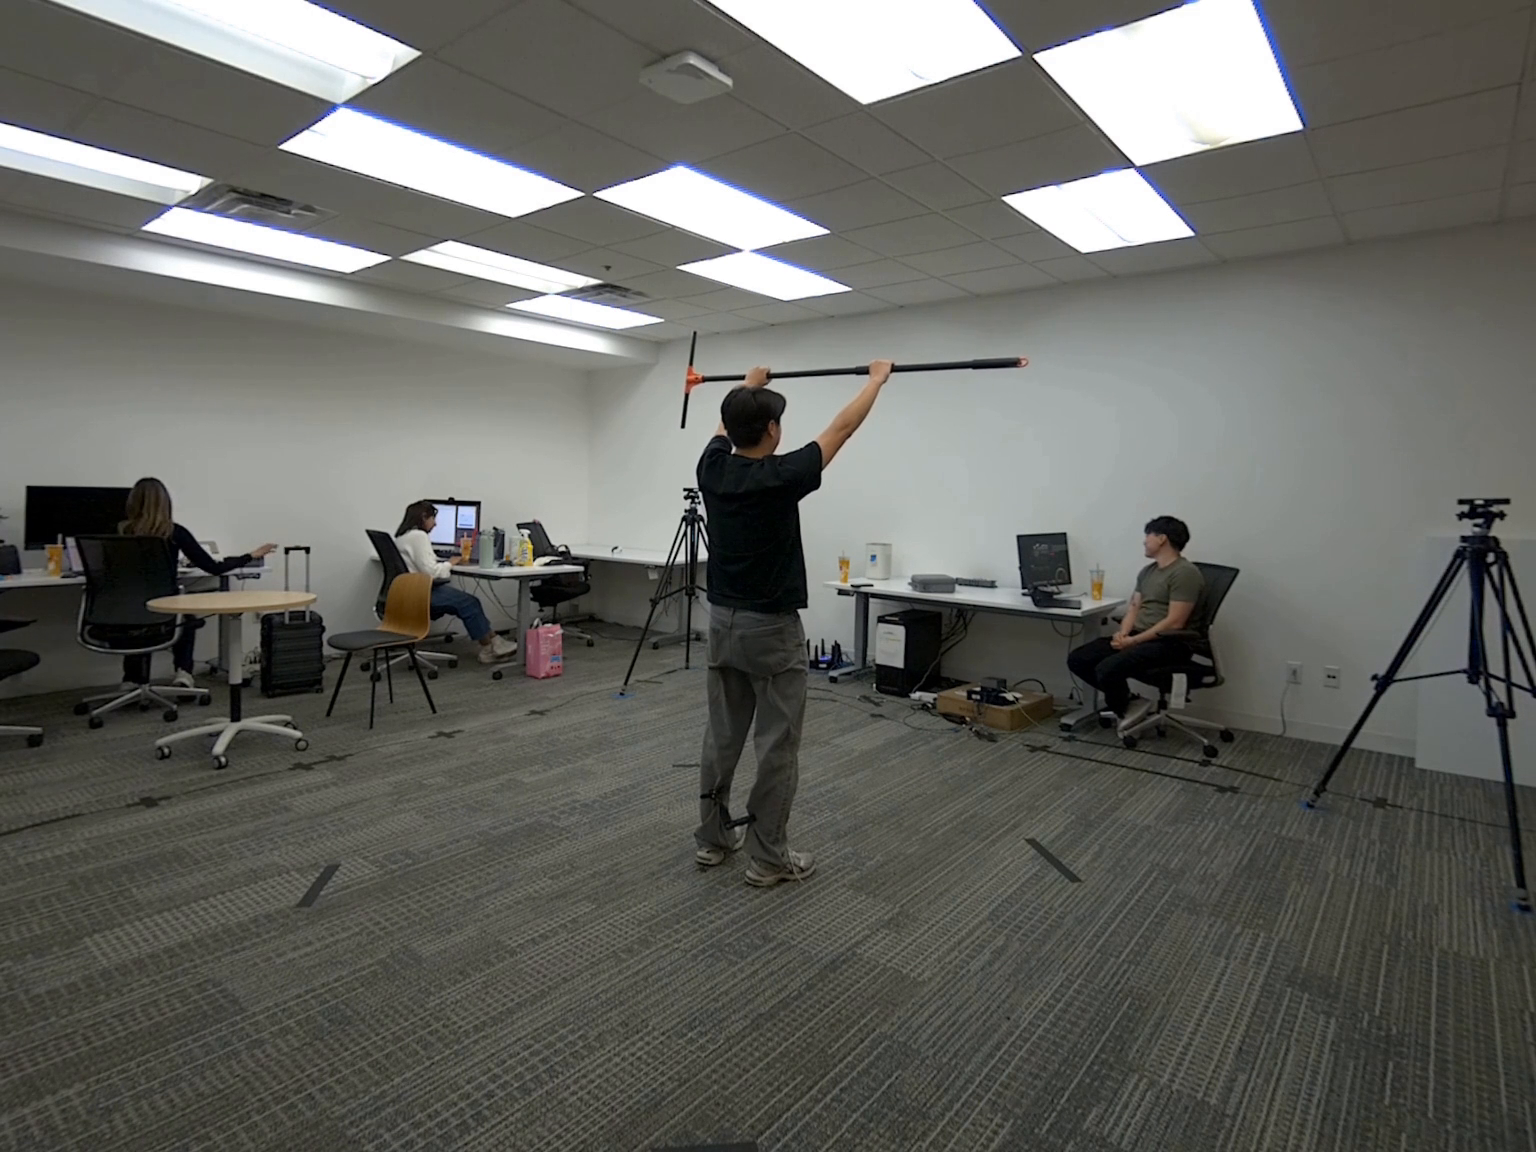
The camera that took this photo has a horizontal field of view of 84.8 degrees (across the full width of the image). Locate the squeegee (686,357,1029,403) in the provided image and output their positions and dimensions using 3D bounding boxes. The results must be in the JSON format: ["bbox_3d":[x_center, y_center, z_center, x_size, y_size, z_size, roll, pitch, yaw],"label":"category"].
[{"bbox_3d":[0.229,-0.792,3.310,1.591,0.438,0.051,8,-1,39],"label":"squeegee"}]
